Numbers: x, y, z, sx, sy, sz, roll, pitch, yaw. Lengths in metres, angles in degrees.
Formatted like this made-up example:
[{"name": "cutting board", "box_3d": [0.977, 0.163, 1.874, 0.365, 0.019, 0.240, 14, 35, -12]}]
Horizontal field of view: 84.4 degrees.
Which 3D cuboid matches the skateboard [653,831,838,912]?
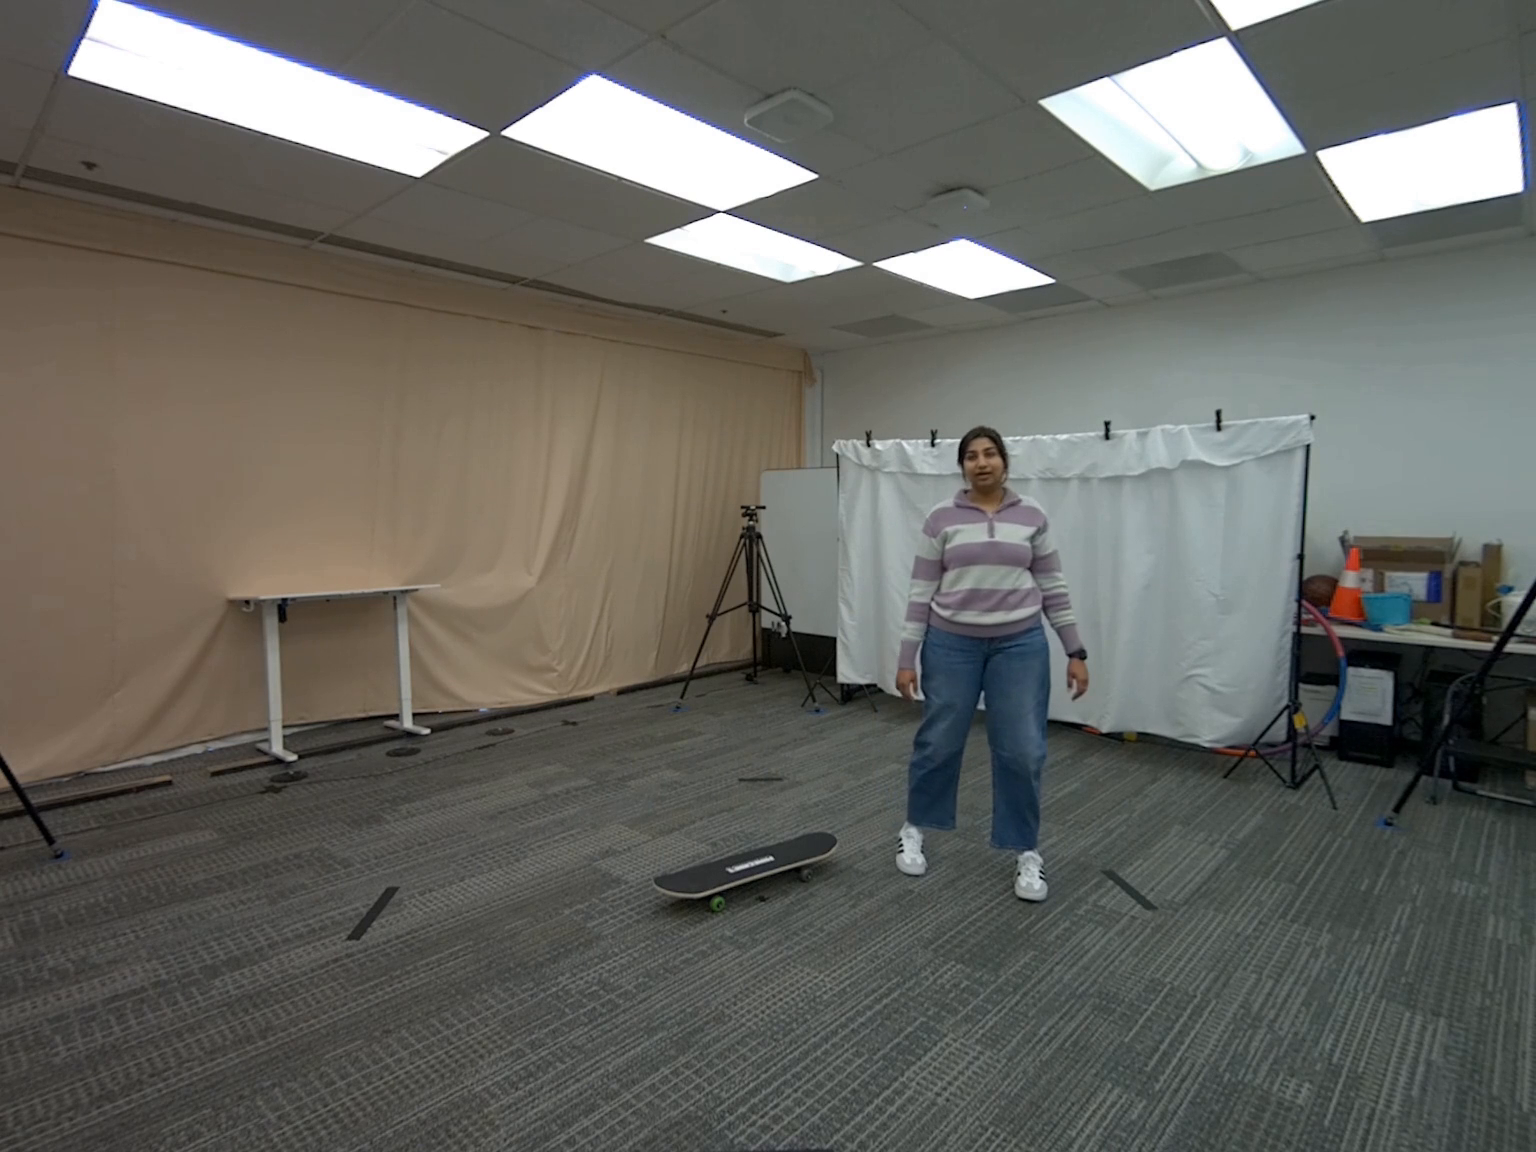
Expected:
[{"name": "skateboard", "box_3d": [-0.062, 1.084, 3.068, 0.763, 0.110, 0.199, -4, 4, -34]}]
